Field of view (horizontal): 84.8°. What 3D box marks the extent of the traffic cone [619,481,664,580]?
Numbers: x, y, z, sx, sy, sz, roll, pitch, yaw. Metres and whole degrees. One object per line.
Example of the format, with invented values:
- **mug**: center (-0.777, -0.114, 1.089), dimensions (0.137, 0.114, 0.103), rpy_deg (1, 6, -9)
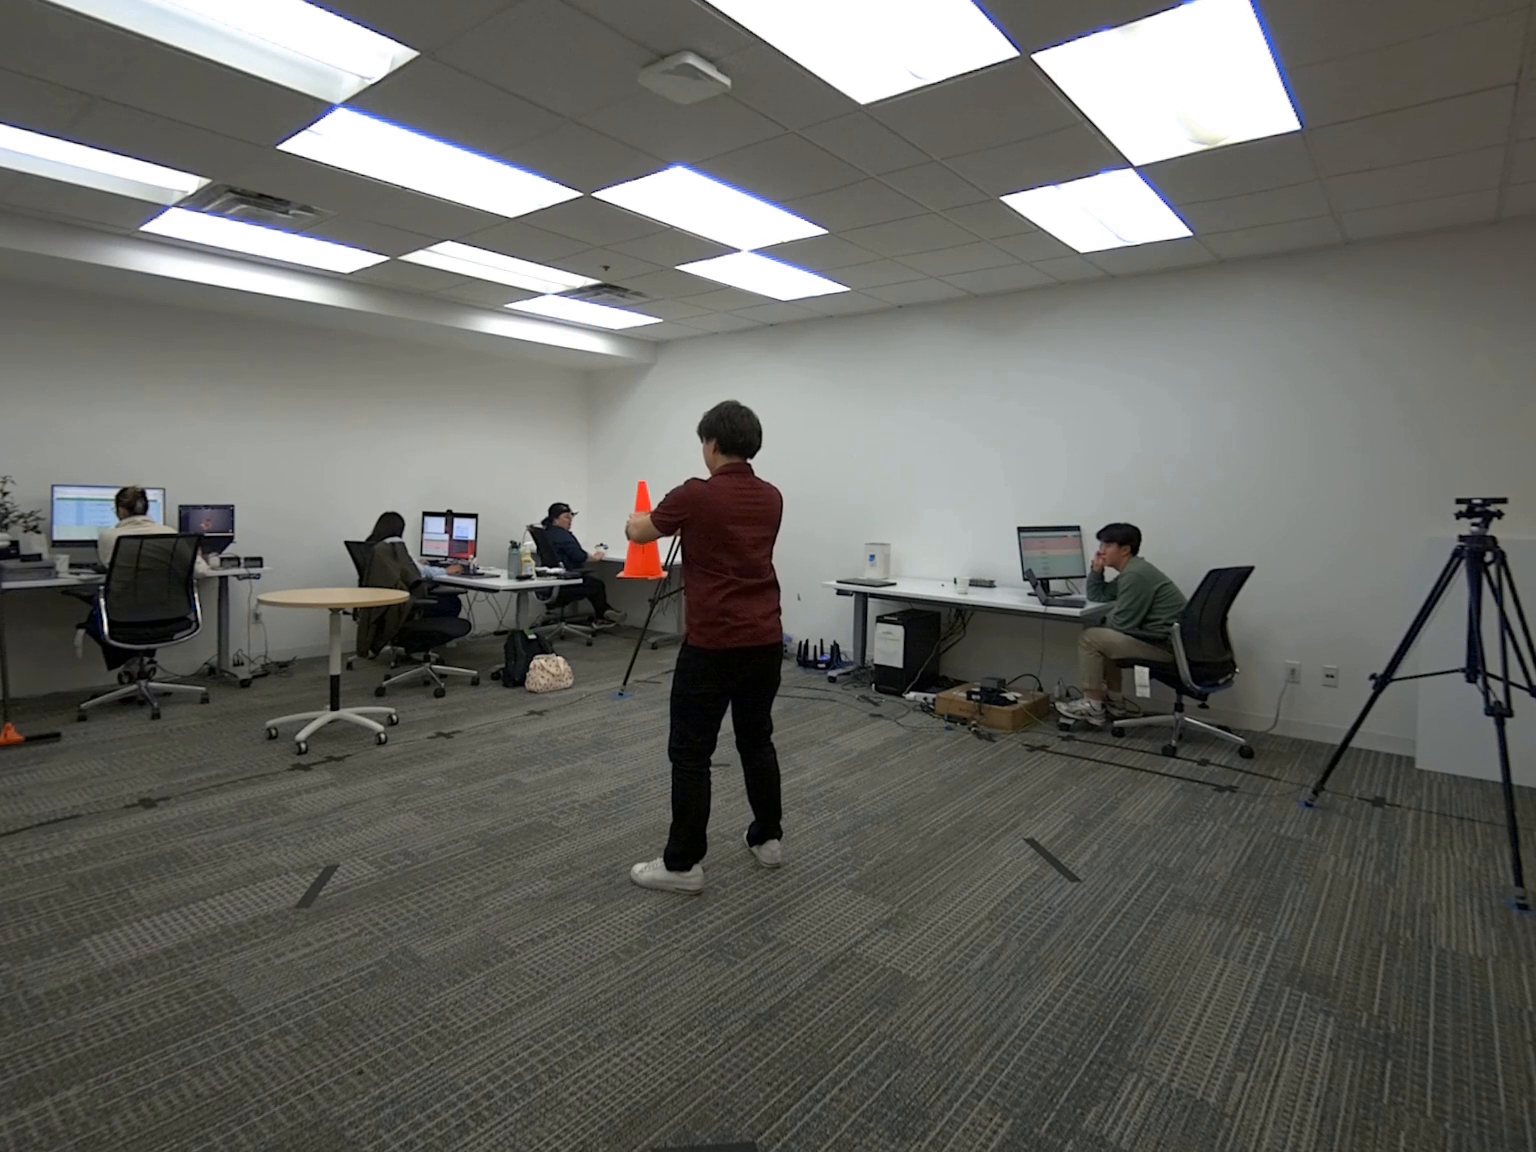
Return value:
- **traffic cone**: center (-0.520, -0.193, 3.452), dimensions (0.203, 0.382, 0.206), rpy_deg (3, 4, -3)
